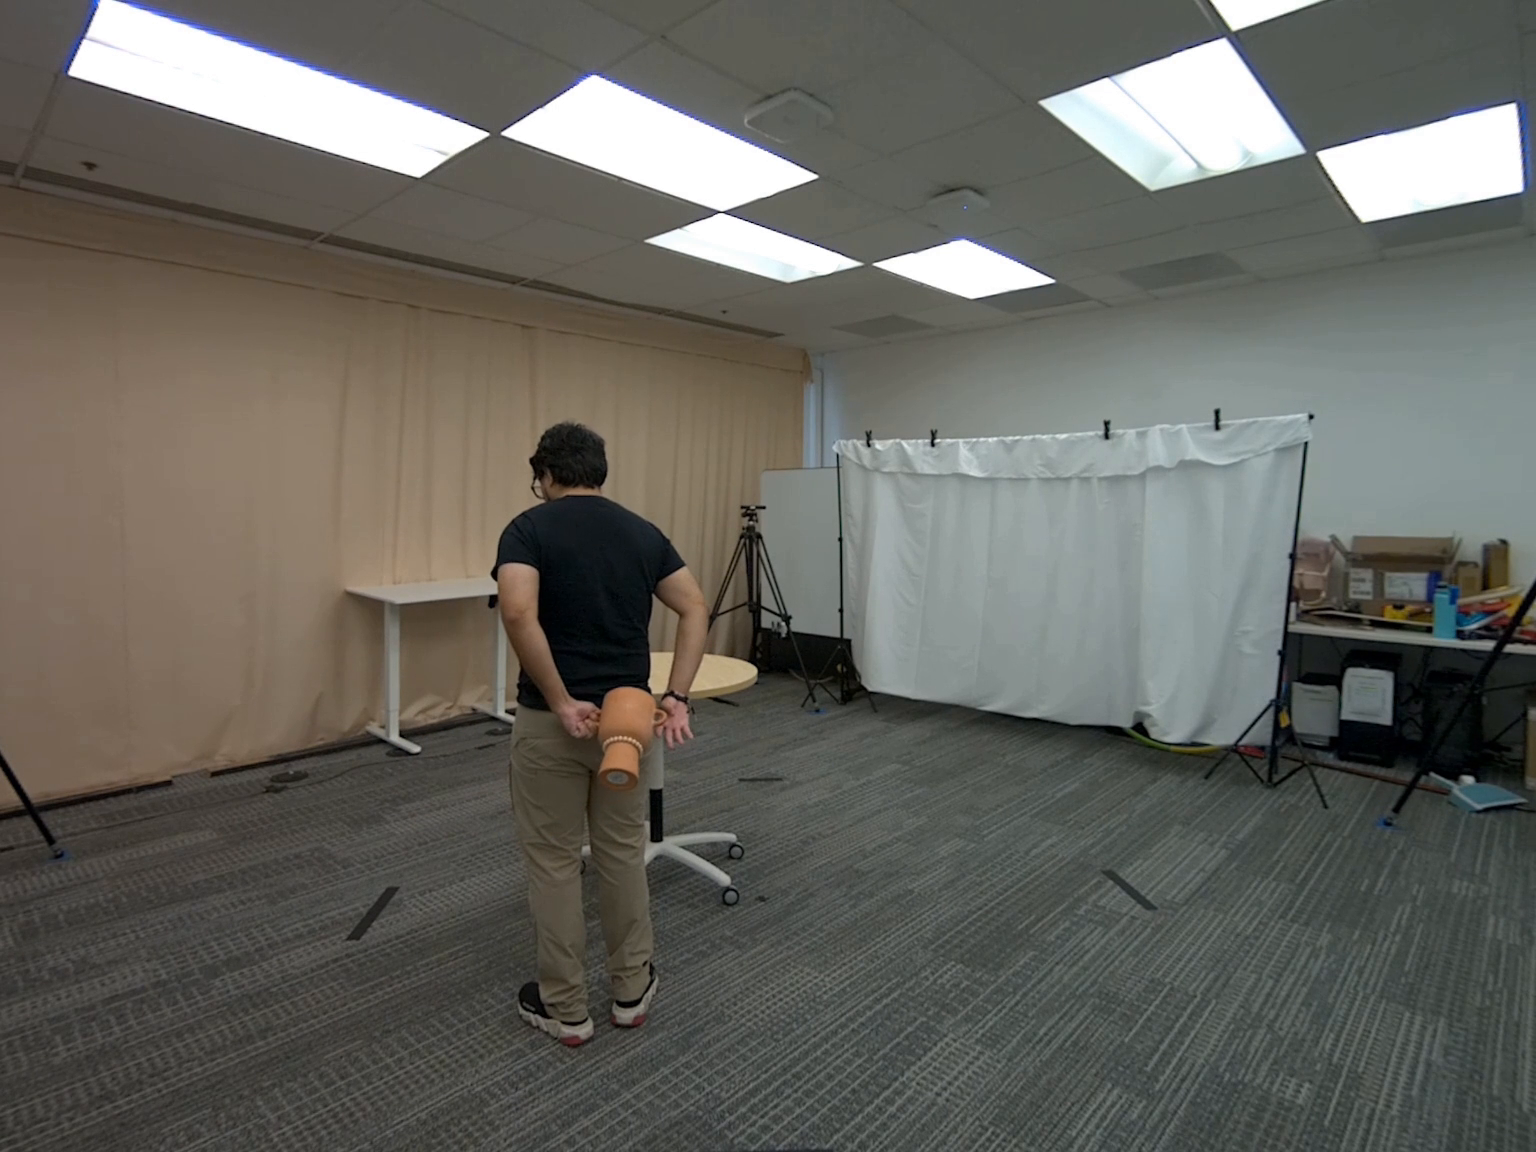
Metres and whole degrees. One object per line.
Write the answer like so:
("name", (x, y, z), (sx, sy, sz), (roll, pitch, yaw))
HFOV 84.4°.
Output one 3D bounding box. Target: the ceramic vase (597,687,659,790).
("ceramic vase", (-0.347, 0.394, 2.034), (0.131, 0.223, 0.160), (33, -54, -26))
